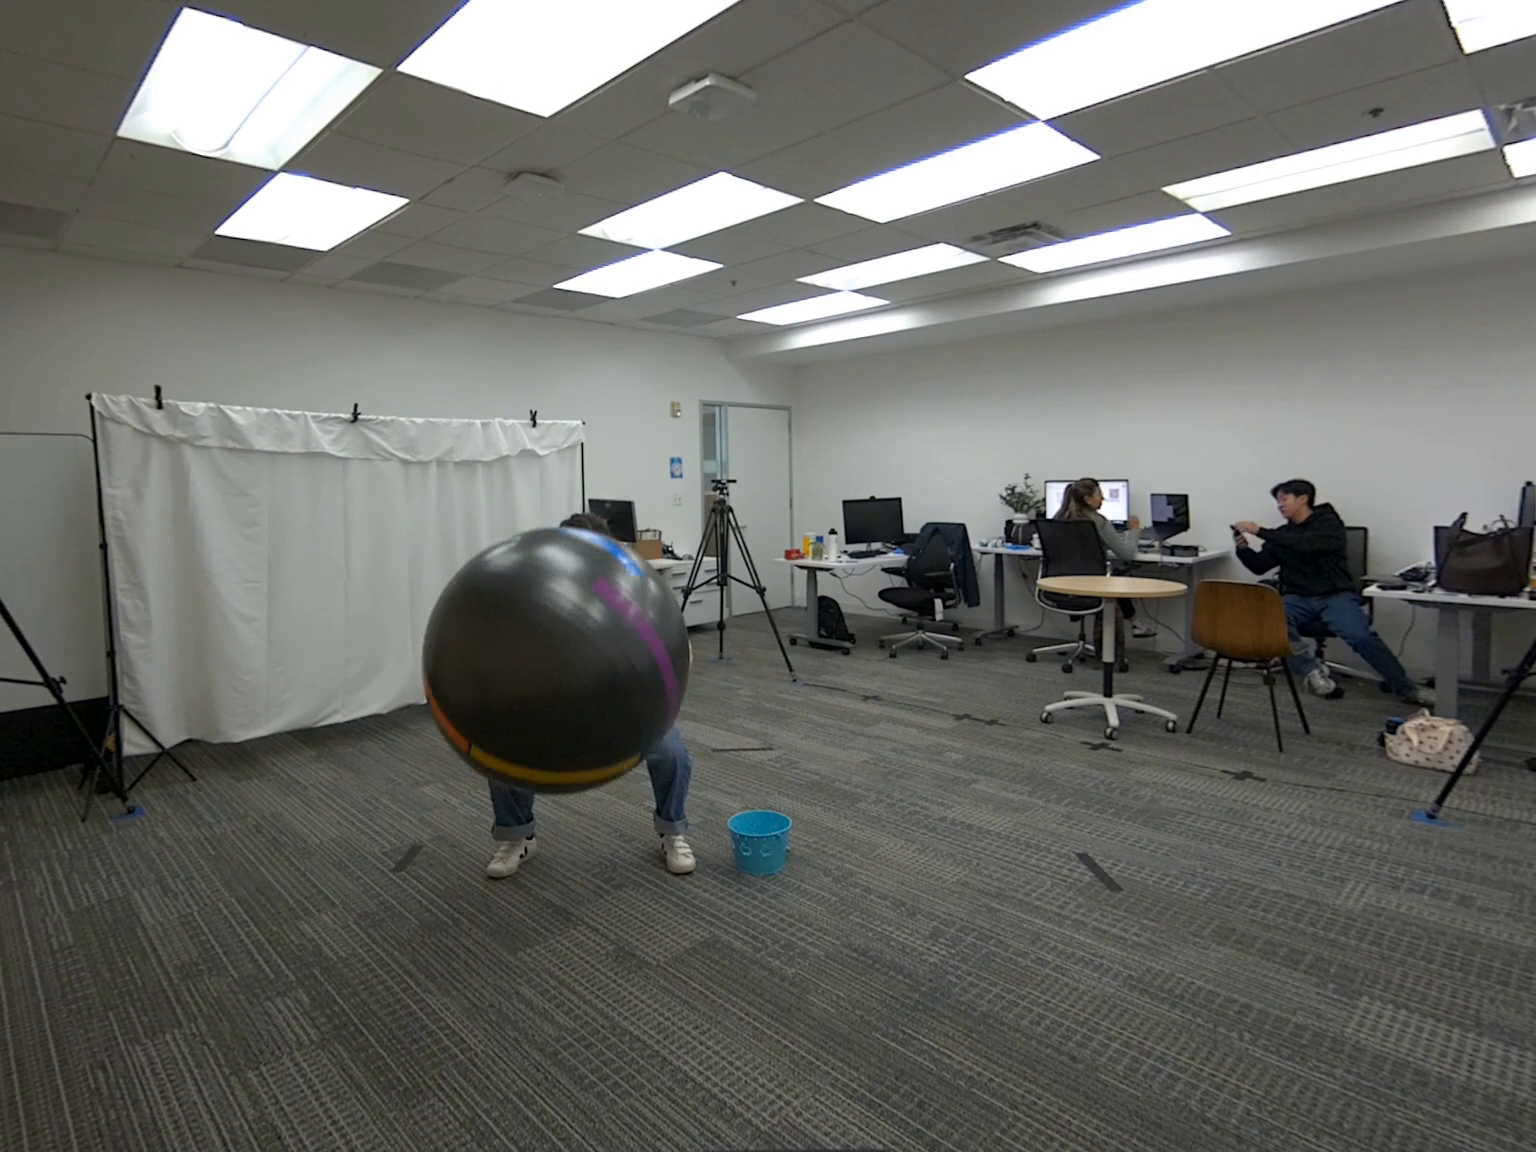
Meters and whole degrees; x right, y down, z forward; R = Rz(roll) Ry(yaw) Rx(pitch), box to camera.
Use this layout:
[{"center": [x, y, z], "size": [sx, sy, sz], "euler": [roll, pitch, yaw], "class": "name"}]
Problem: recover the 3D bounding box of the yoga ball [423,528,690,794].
[{"center": [-0.610, 0.236, 2.470], "size": [0.757, 0.755, 0.762], "euler": [-1, 5, -2], "class": "yoga ball"}]
